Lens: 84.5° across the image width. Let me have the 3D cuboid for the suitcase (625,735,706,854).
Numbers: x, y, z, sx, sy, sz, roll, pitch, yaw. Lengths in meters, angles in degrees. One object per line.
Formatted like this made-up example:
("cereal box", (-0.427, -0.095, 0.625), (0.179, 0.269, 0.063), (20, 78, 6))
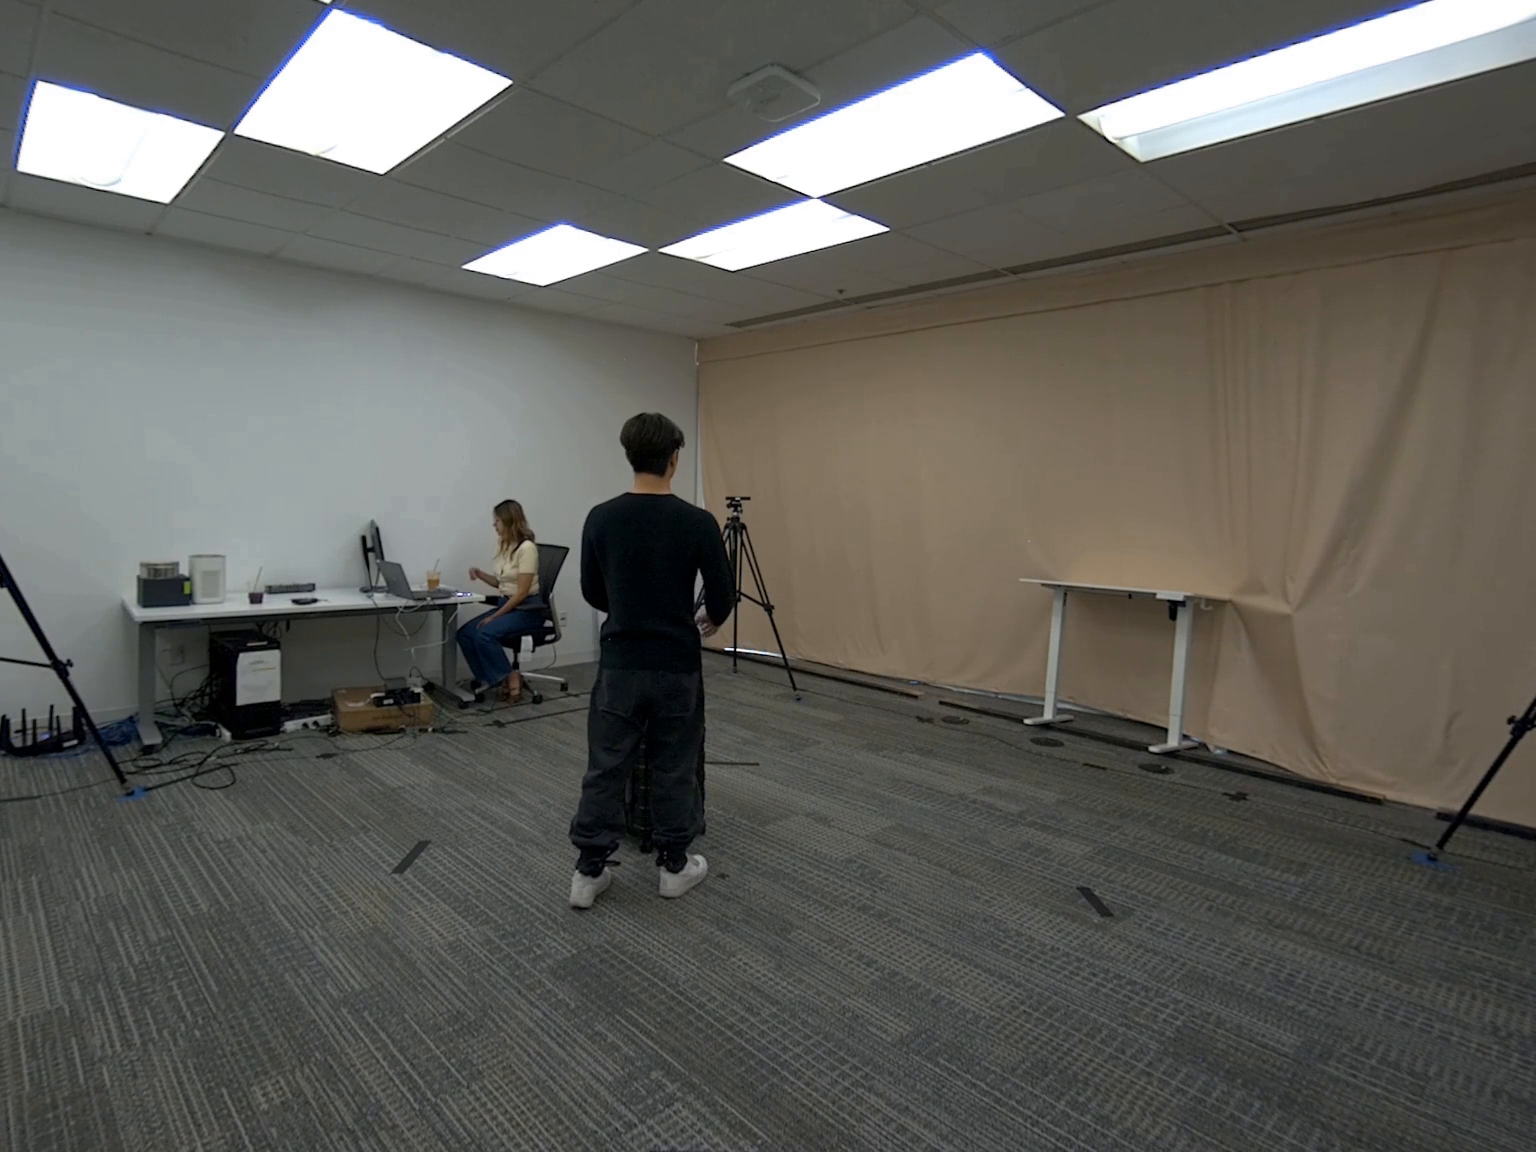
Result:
("suitcase", (-0.463, 0.597, 3.441), (0.263, 0.977, 0.375), (3, 3, 43))
